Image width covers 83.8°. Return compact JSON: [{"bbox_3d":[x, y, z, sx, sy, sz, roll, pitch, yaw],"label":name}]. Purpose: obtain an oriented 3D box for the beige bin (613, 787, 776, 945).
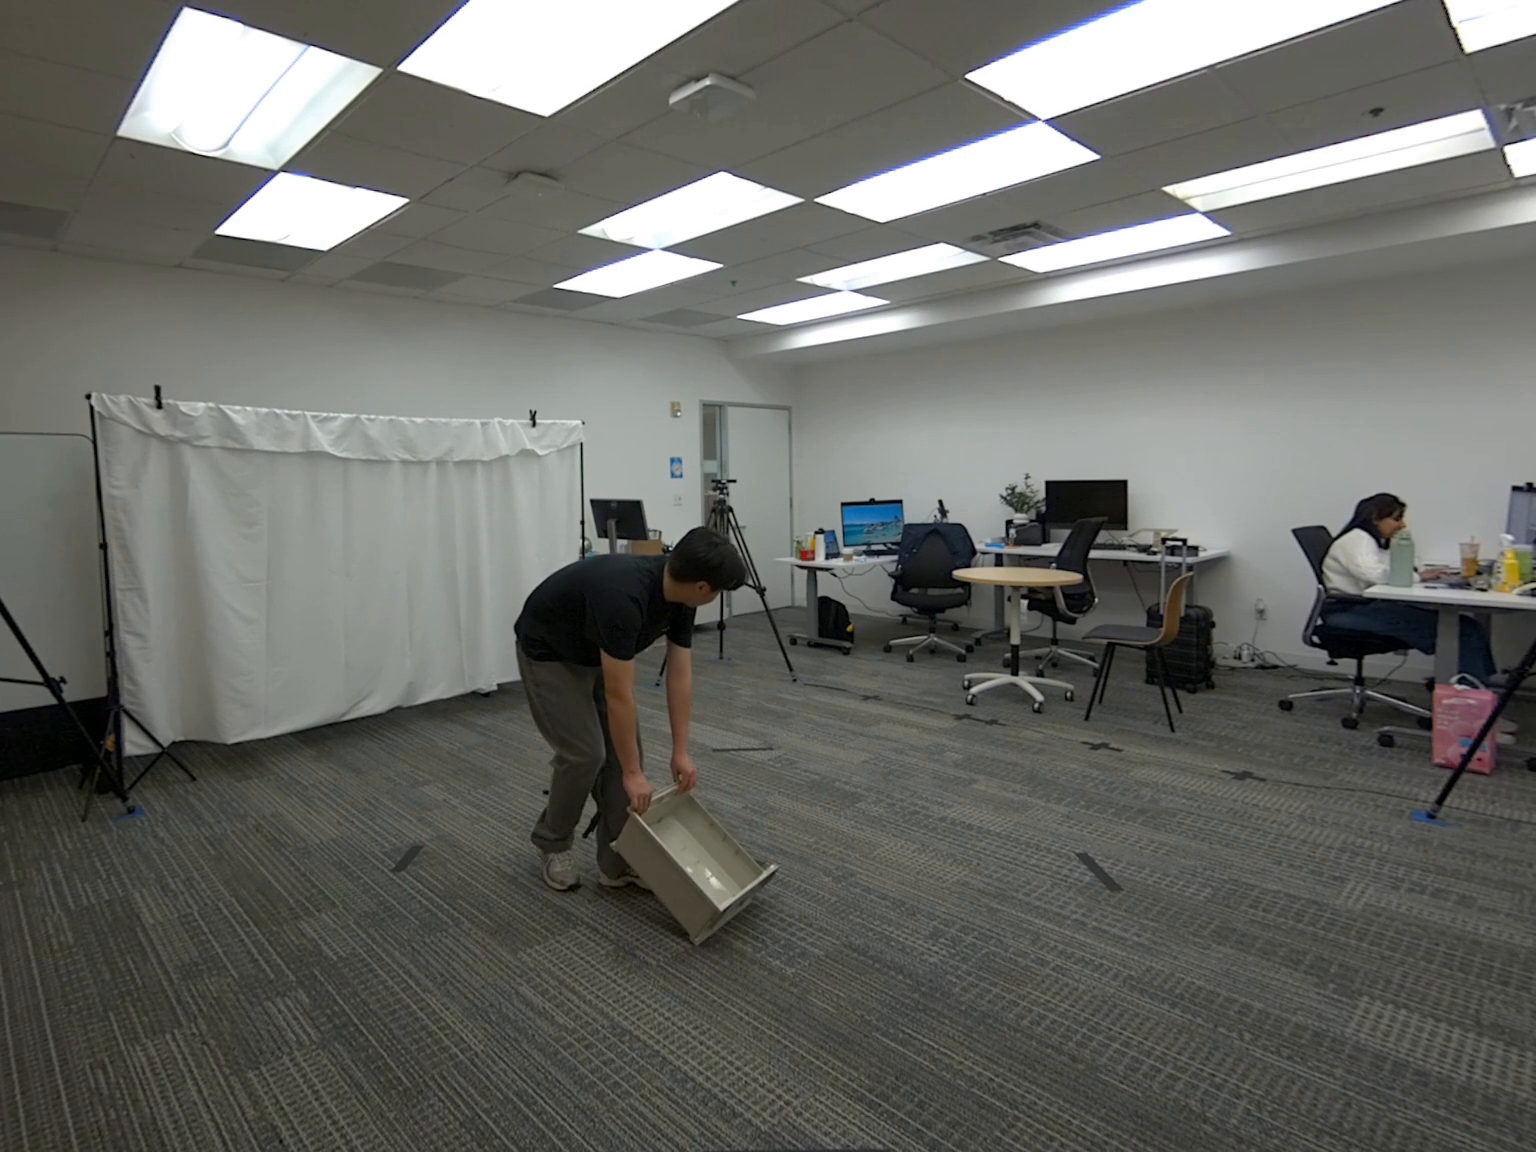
[{"bbox_3d":[-0.230,0.898,2.764,0.435,0.187,0.369,39,26,23],"label":"beige bin"}]
